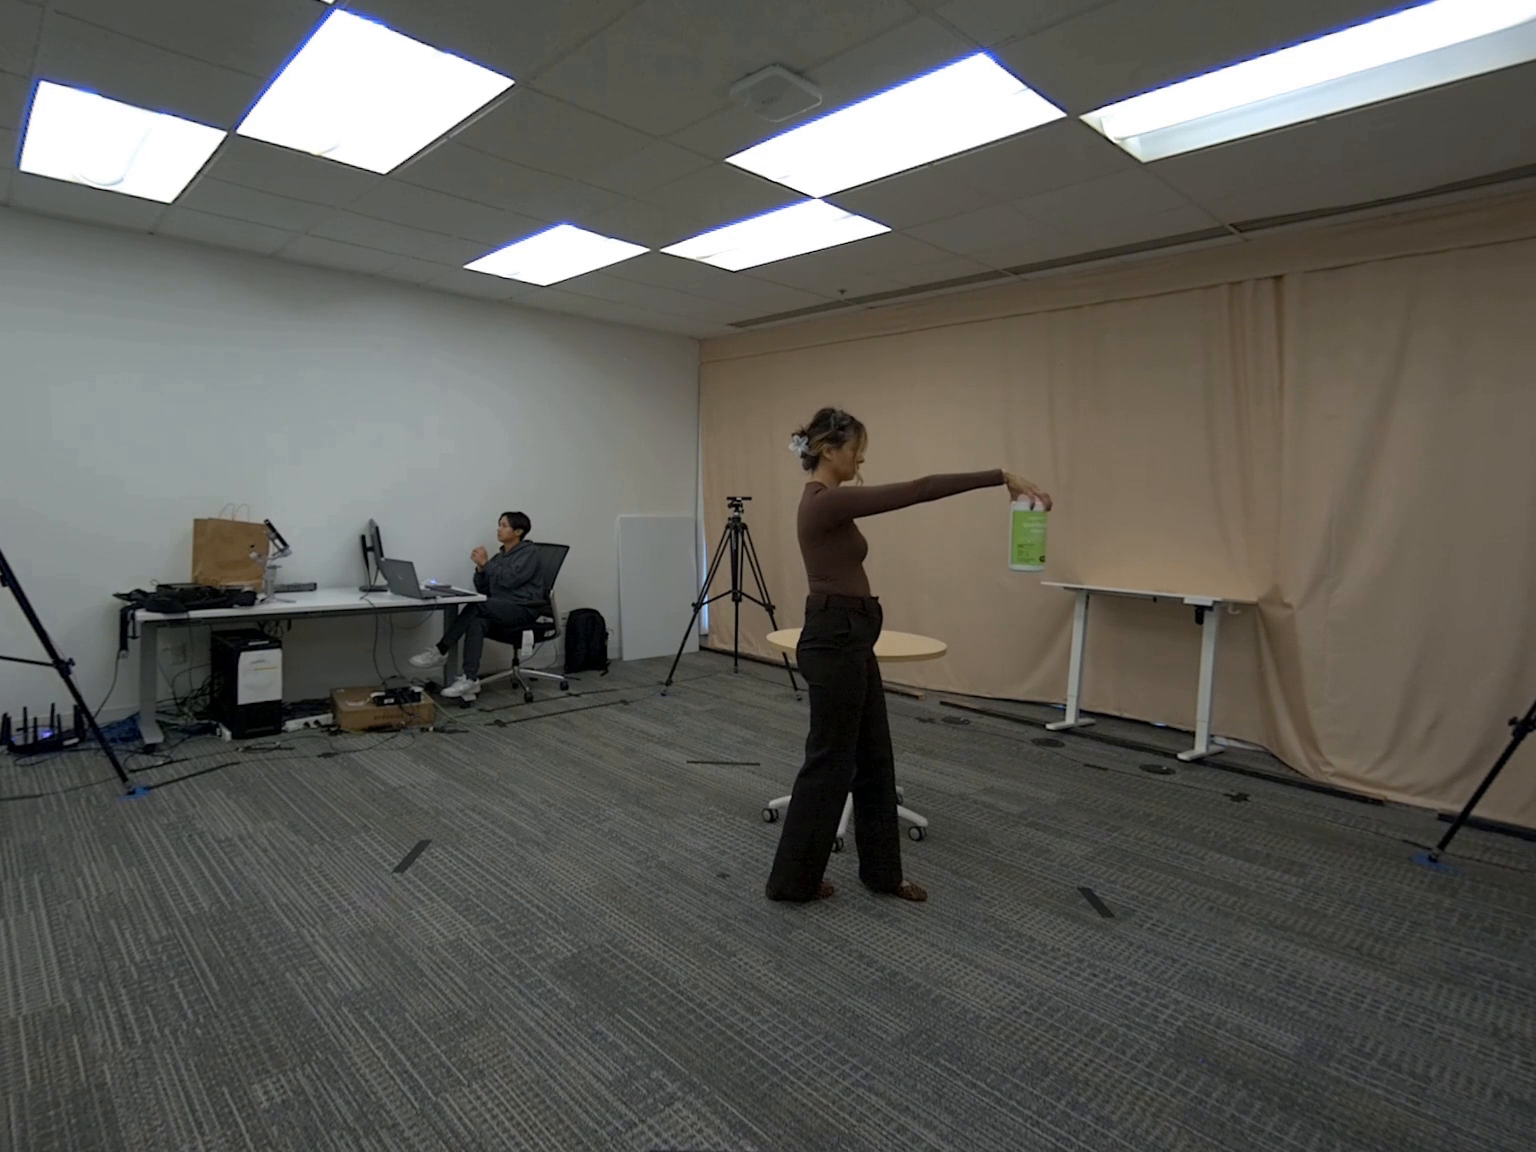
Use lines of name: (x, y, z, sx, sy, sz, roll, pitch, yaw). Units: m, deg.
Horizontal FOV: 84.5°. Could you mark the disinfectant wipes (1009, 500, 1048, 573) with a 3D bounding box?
disinfectant wipes: (0.791, -0.128, 2.622, 0.118, 0.216, 0.118, 1, 8, -1)
